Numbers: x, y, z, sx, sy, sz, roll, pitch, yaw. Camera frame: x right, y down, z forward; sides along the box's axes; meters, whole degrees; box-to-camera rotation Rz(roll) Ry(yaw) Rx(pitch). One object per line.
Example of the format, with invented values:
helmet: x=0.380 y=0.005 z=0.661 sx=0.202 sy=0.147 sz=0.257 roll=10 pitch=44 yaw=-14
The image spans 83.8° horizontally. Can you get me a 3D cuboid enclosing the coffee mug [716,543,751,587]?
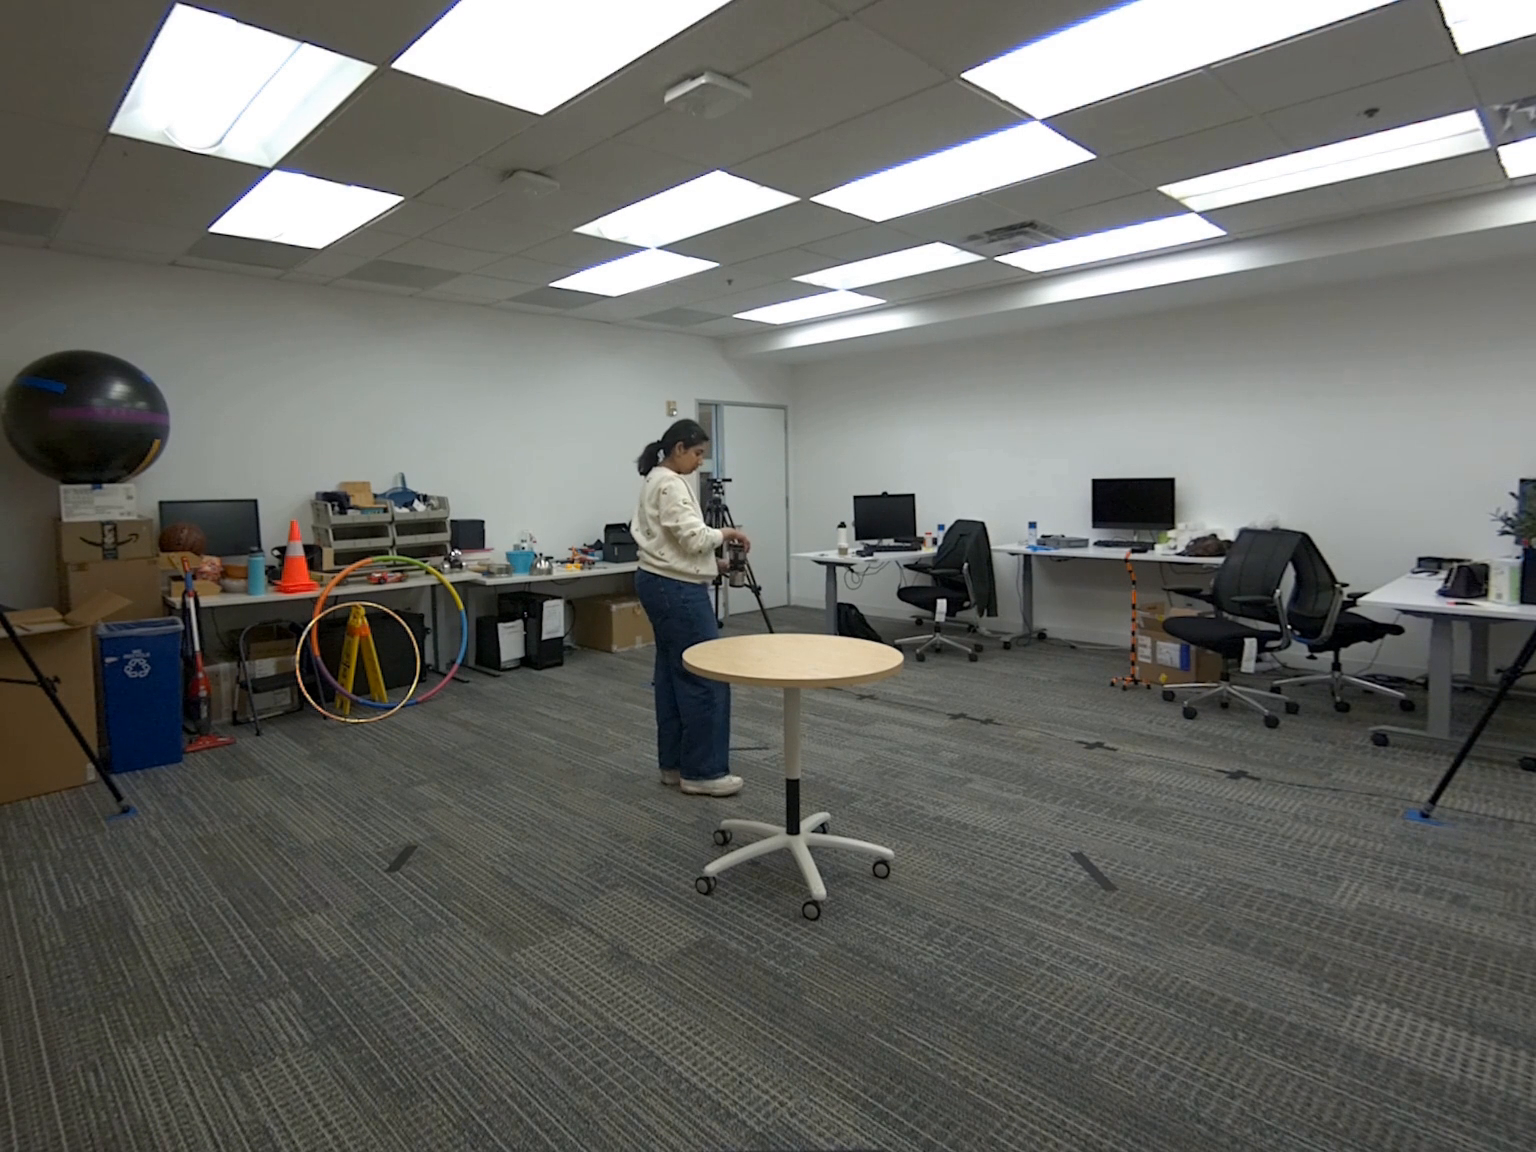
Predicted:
coffee mug: x=-0.166 y=-0.044 z=3.951 sx=0.091 sy=0.202 sz=0.118 roll=10 pitch=7 yaw=36
